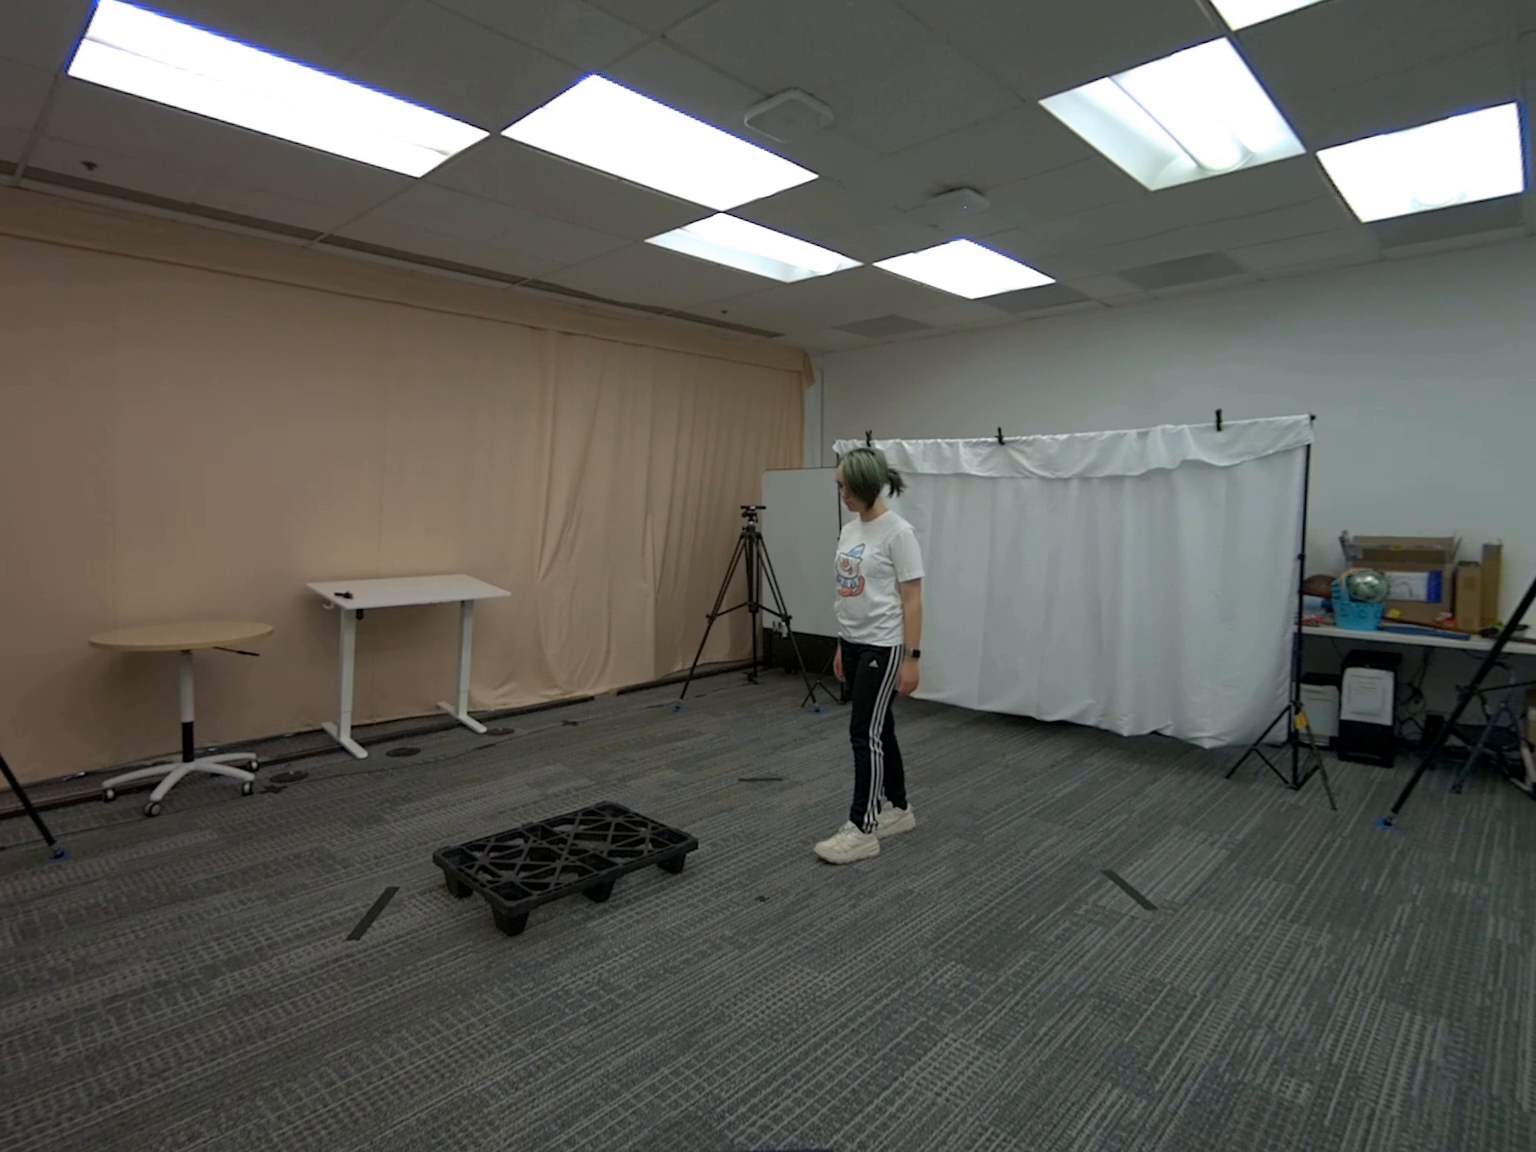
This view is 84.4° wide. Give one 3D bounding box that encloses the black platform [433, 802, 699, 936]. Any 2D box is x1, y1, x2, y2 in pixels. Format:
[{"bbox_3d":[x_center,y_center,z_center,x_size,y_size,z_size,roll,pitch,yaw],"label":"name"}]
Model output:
[{"bbox_3d":[-0.744,1.072,3.137,0.781,0.143,0.625,-5,7,-43],"label":"black platform"}]
